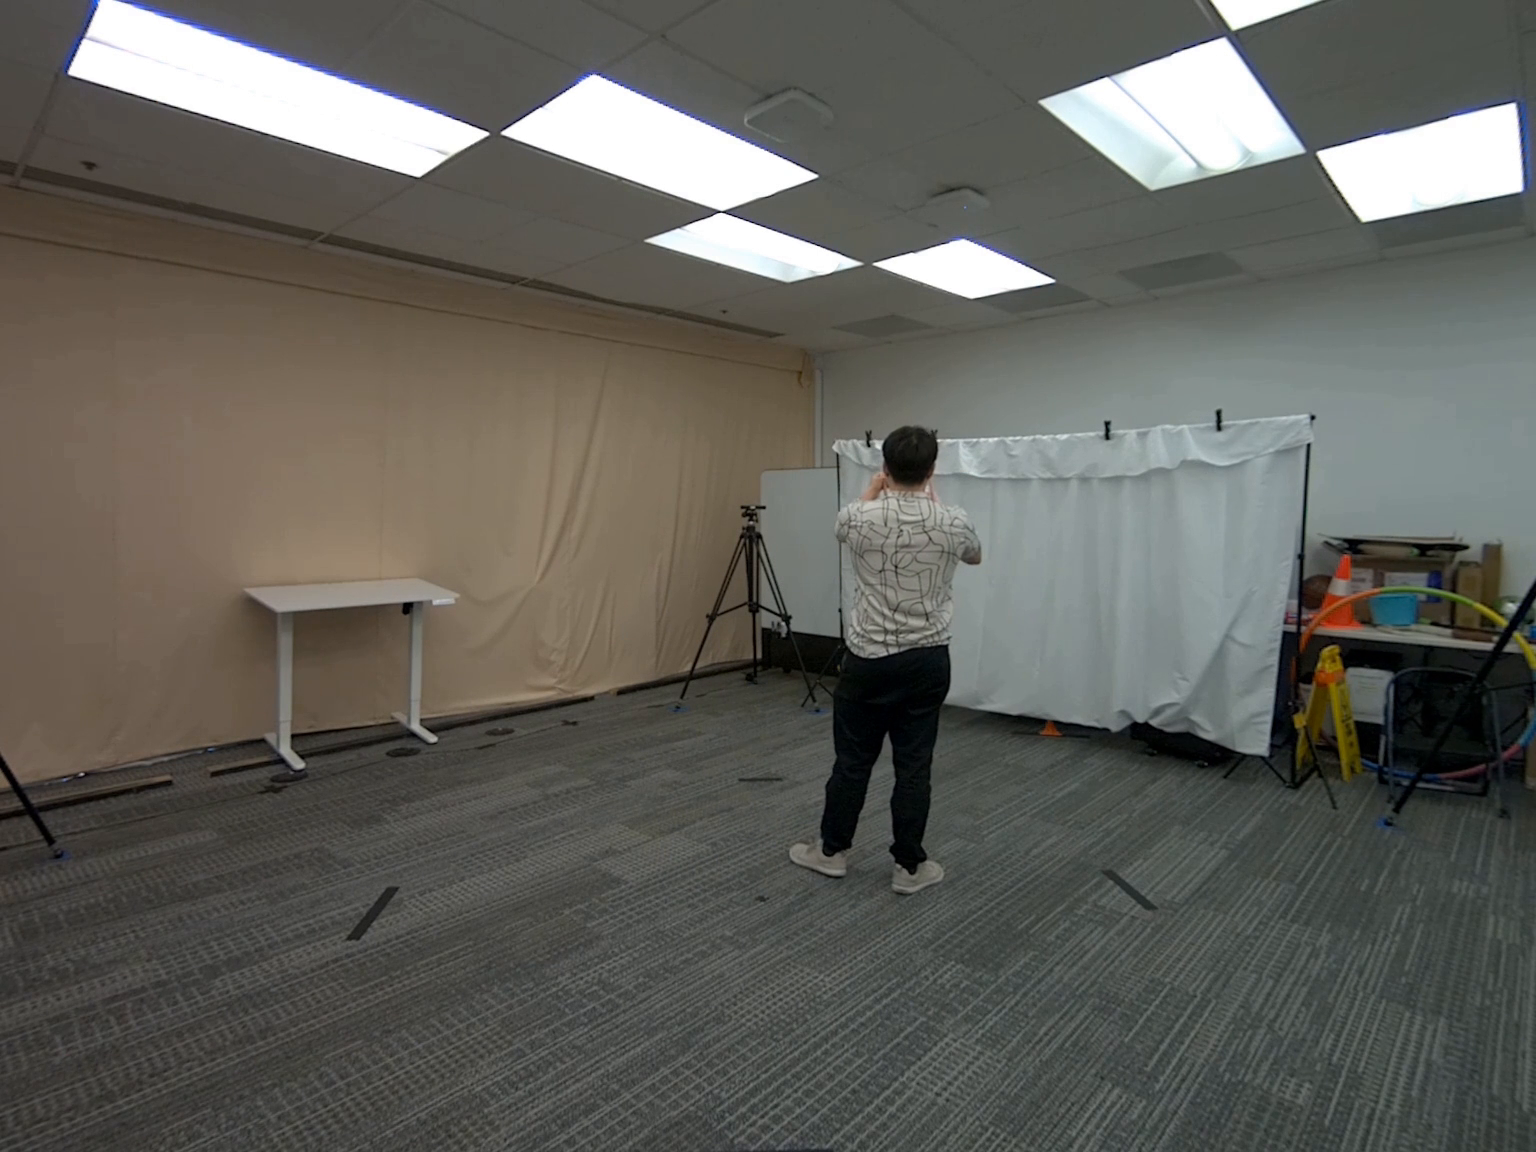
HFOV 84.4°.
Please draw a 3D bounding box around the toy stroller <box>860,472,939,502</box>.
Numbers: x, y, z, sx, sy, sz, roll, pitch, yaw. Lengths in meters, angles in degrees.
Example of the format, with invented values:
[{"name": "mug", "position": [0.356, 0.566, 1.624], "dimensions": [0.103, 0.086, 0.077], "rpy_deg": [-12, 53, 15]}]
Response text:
[{"name": "toy stroller", "position": [0.605, -0.160, 3.491], "dimensions": [0.288, 0.539, 0.330], "rpy_deg": [-6, -15, 27]}]
